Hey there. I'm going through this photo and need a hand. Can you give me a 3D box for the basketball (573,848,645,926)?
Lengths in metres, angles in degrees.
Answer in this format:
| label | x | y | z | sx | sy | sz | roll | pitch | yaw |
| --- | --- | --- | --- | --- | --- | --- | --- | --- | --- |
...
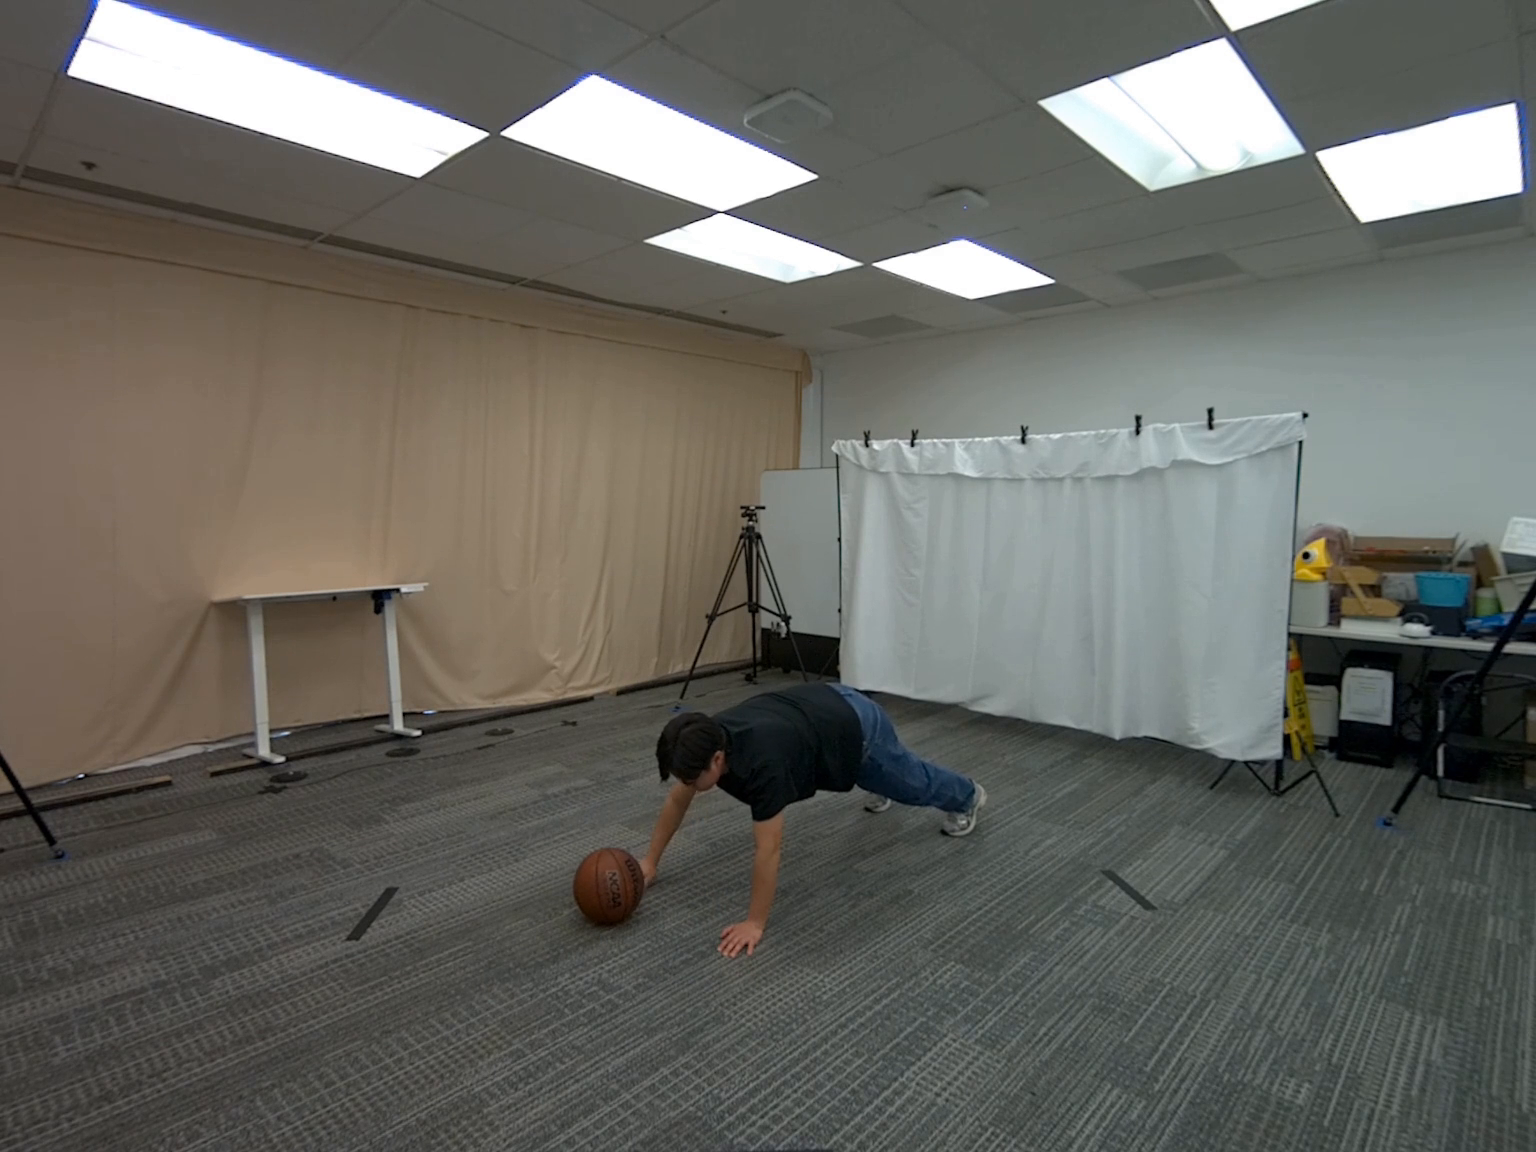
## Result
| label | x | y | z | sx | sy | sz | roll | pitch | yaw |
| --- | --- | --- | --- | --- | --- | --- | --- | --- | --- |
| basketball | -0.532 | 1.034 | 2.836 | 0.236 | 0.235 | 0.237 | 0 | 4 | -2 |
